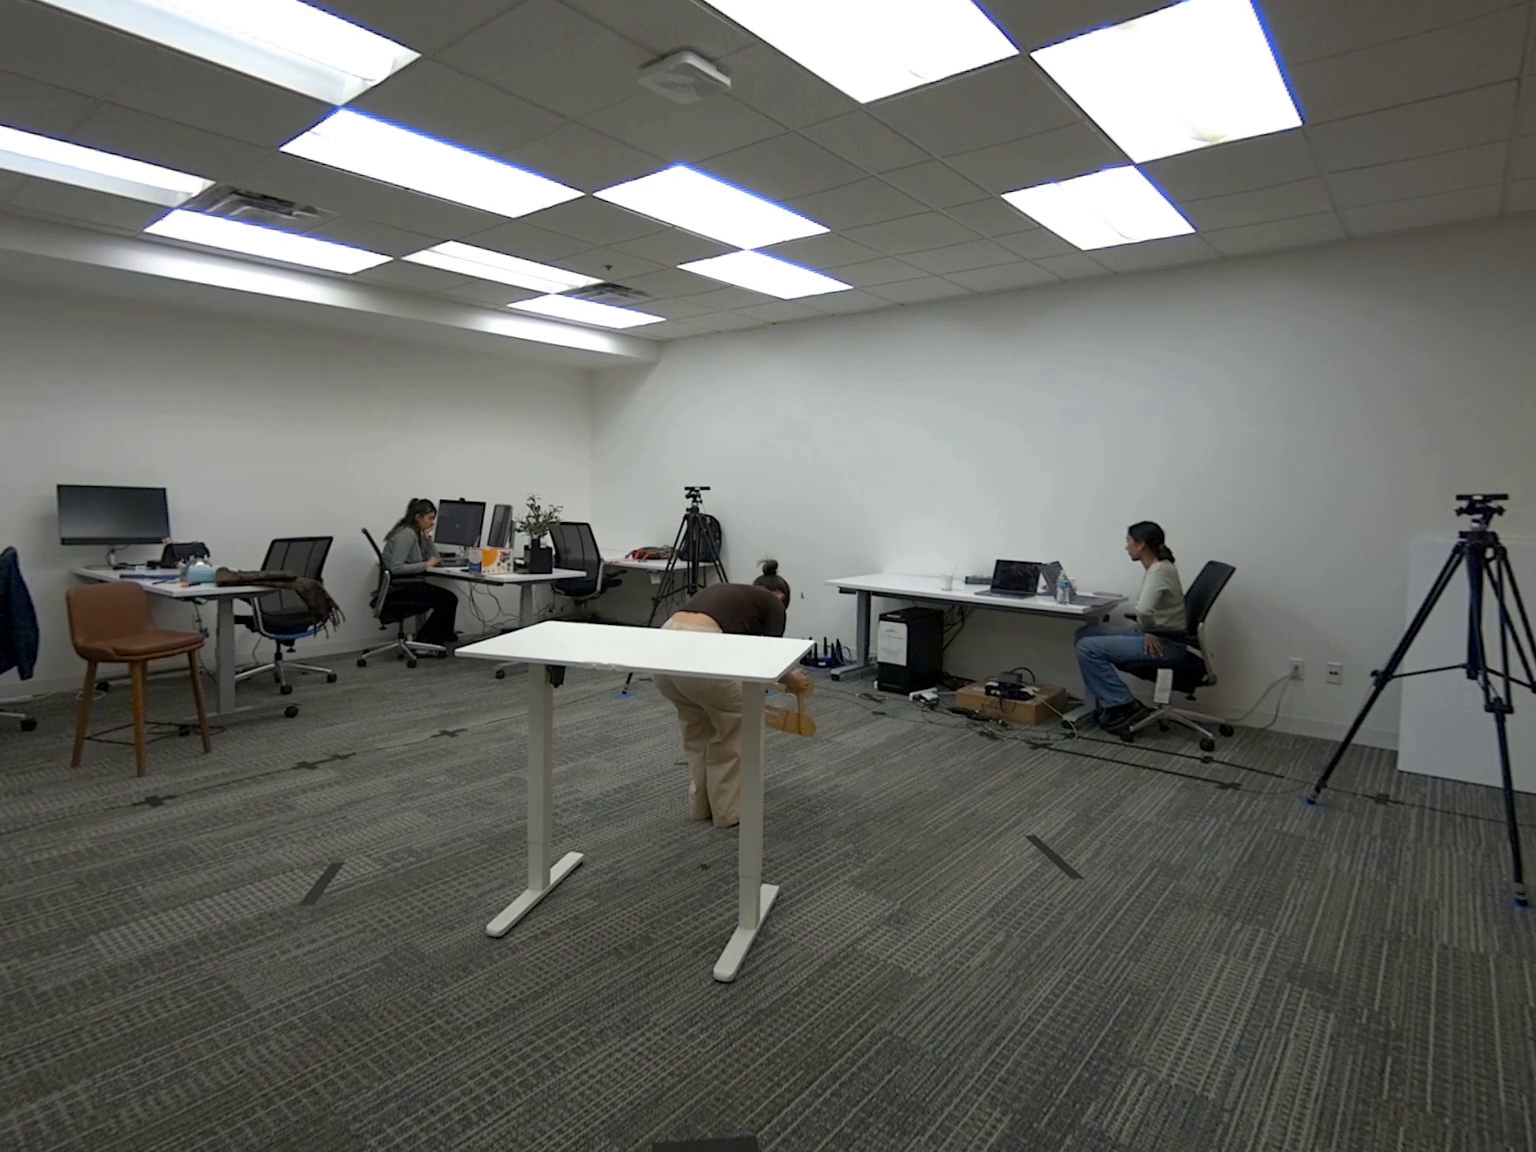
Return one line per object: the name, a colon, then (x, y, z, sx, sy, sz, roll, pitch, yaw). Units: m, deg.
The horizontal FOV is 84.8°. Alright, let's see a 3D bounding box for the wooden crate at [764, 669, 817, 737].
wooden crate: (0.034, 0.557, 3.907, 0.335, 0.275, 0.290, 7, -11, 37)
